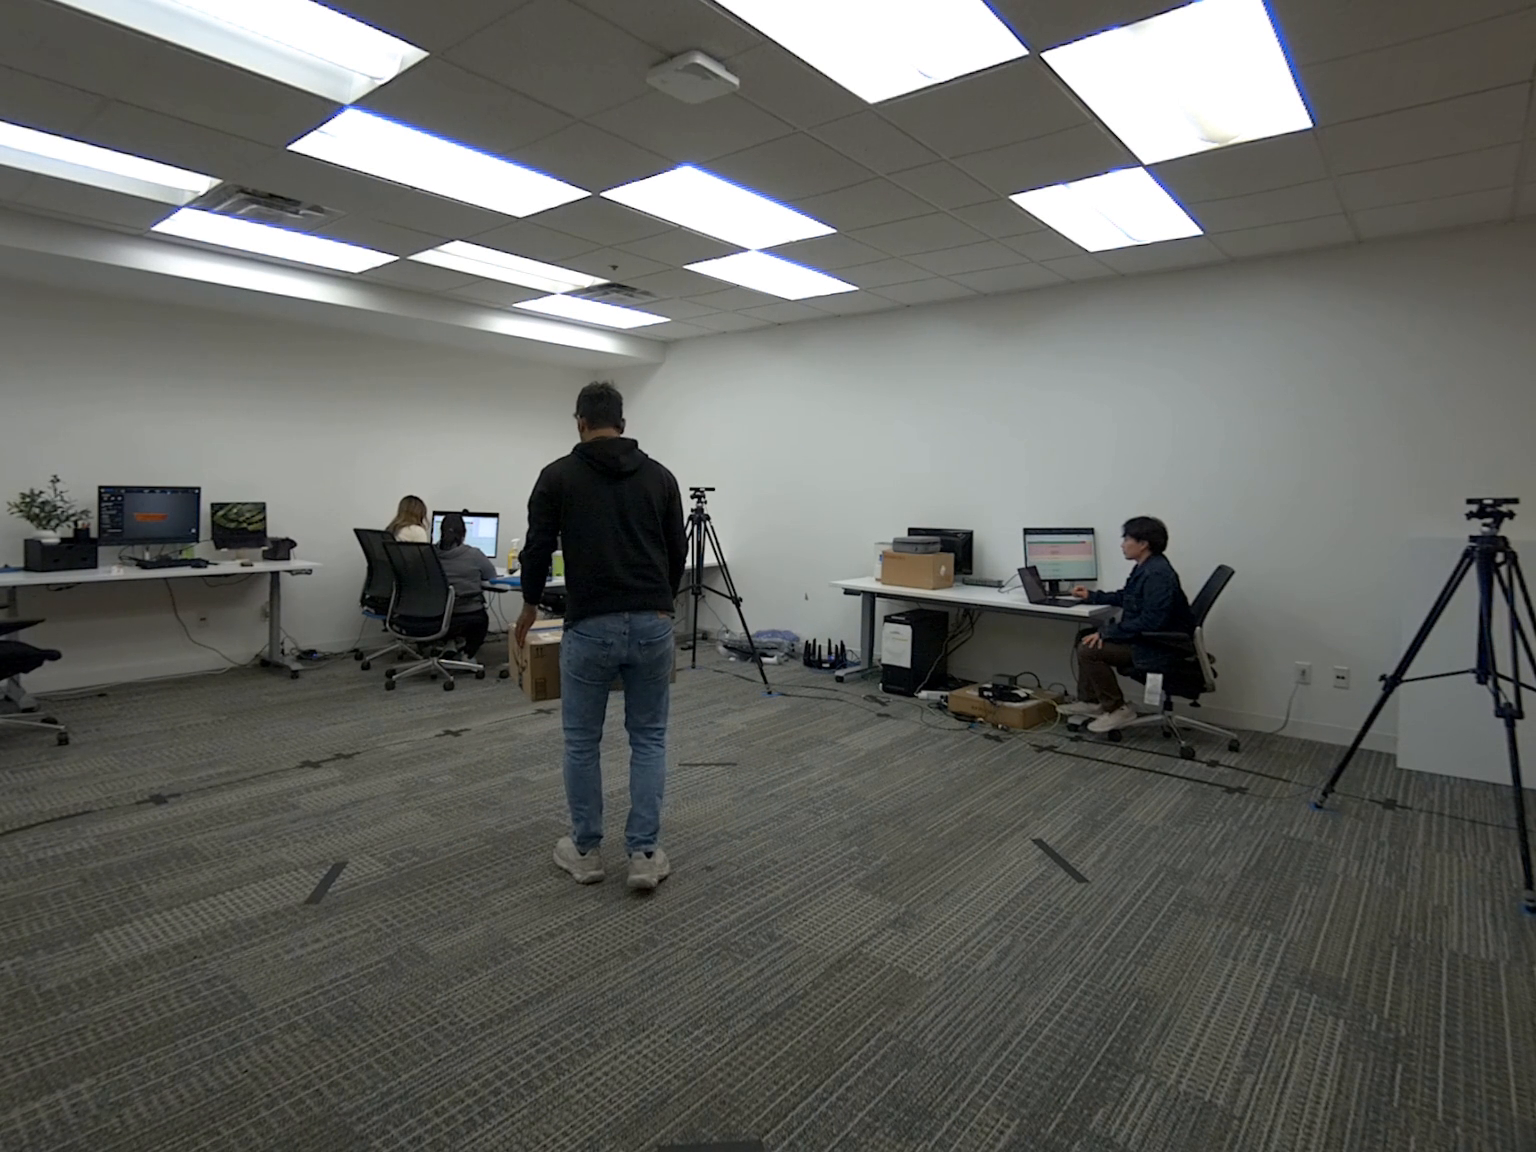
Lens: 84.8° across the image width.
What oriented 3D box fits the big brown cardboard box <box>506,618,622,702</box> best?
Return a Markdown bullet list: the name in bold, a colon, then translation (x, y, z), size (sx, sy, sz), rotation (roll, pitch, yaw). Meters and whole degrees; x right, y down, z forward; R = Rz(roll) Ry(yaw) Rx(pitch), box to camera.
- **big brown cardboard box**: translation (-0.717, 0.312, 3.356), size (0.575, 0.232, 0.430), rotation (-4, 8, -27)
